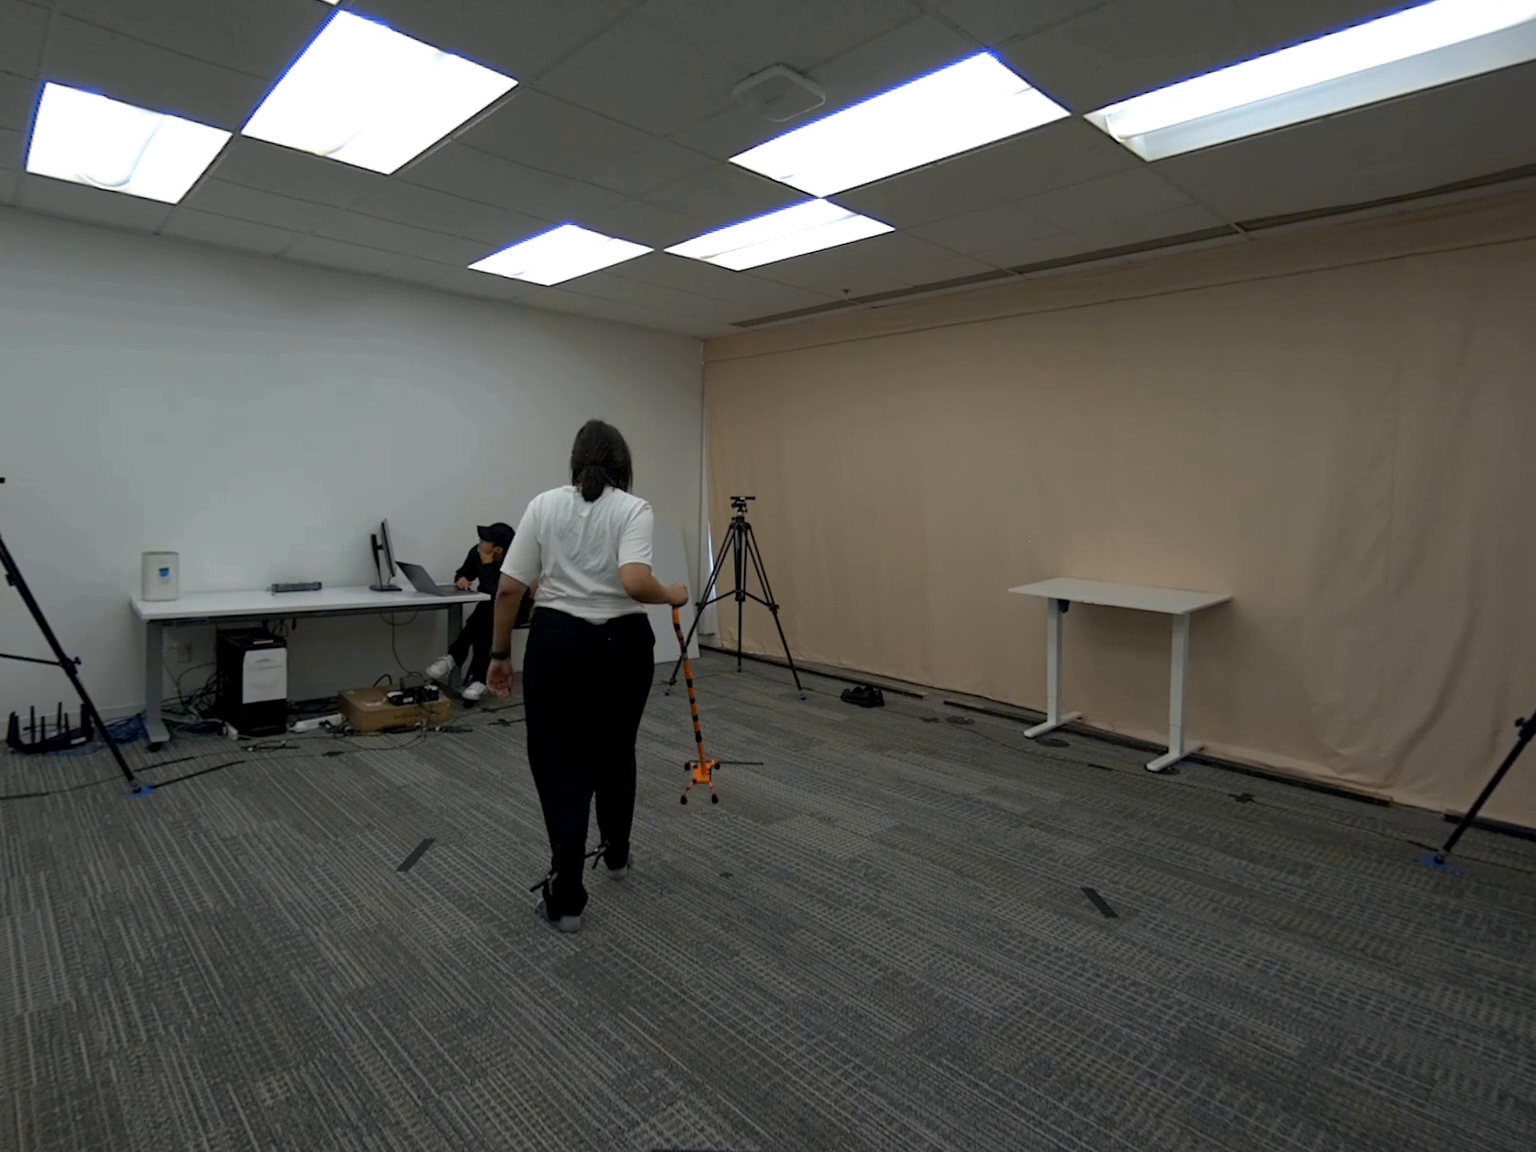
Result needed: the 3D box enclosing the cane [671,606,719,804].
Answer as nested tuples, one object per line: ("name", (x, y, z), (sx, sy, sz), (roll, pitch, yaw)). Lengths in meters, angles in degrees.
("cane", (-0.304, 0.457, 3.145), (0.152, 0.889, 0.210), (-3, 30, 2))
